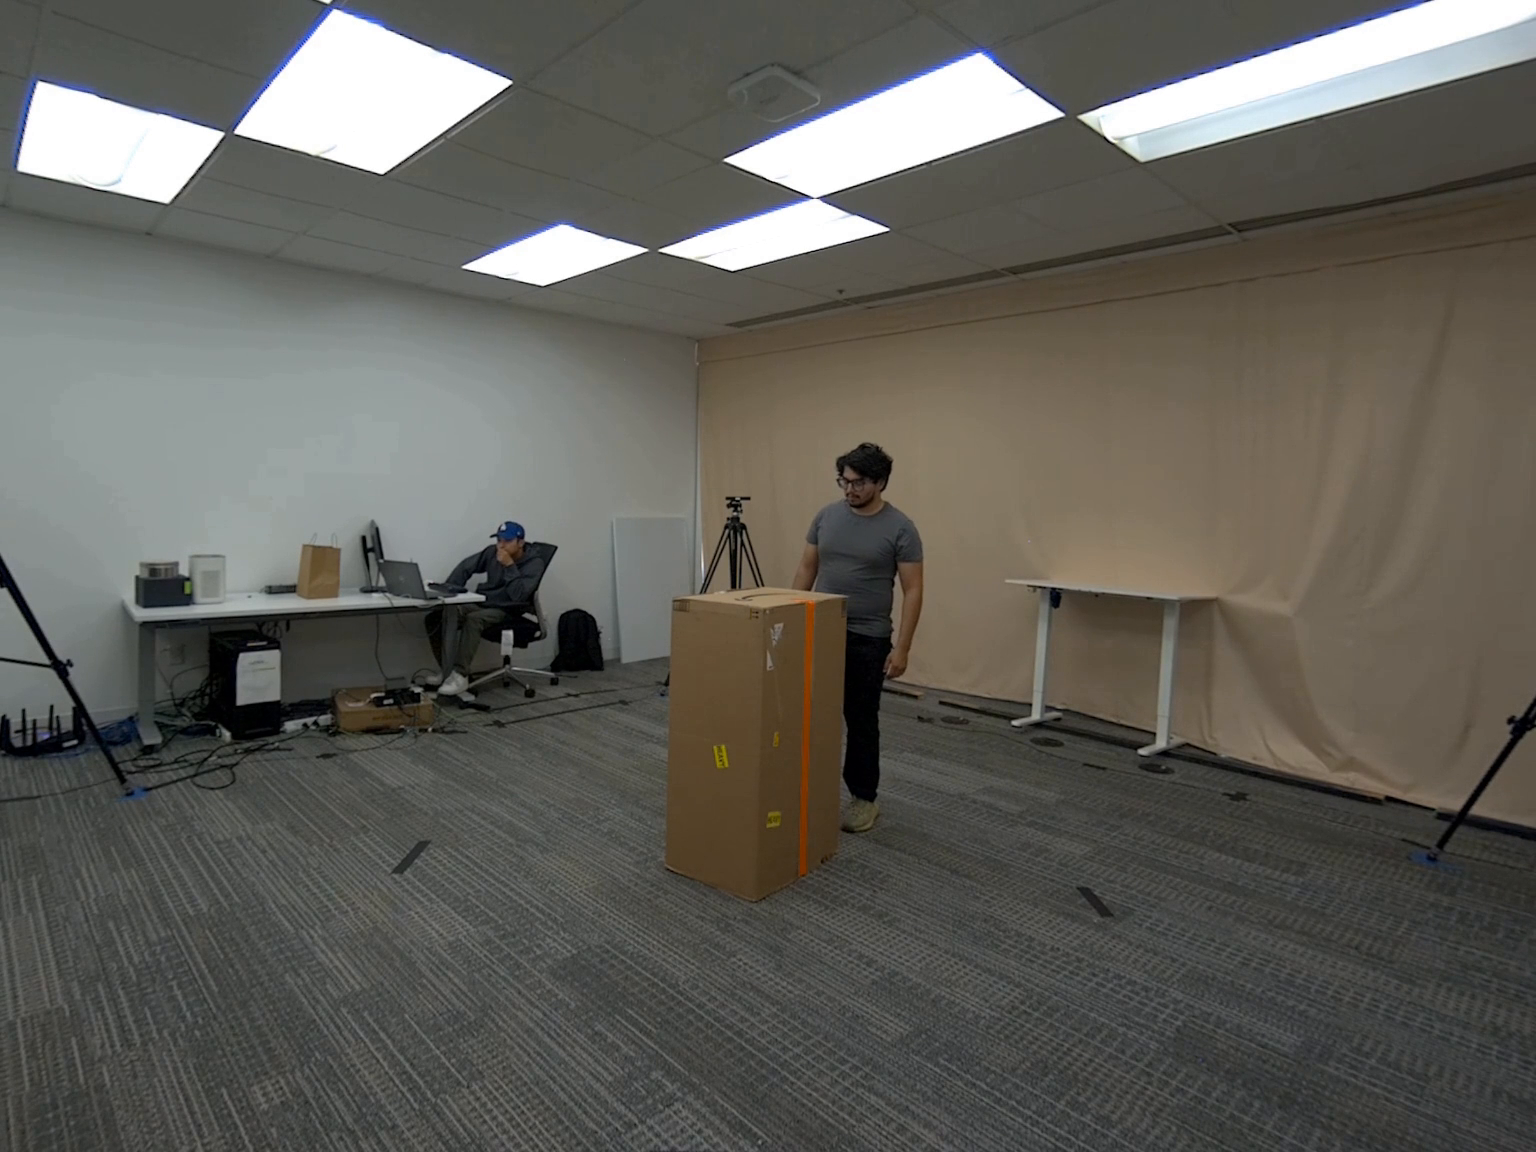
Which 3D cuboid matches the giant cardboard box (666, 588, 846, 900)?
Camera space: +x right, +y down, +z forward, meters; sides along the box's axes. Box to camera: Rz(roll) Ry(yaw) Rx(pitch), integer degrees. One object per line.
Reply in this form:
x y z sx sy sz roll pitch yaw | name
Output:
-0.043 0.594 3.221 0.457 1.025 0.571 3 3 35 | giant cardboard box
